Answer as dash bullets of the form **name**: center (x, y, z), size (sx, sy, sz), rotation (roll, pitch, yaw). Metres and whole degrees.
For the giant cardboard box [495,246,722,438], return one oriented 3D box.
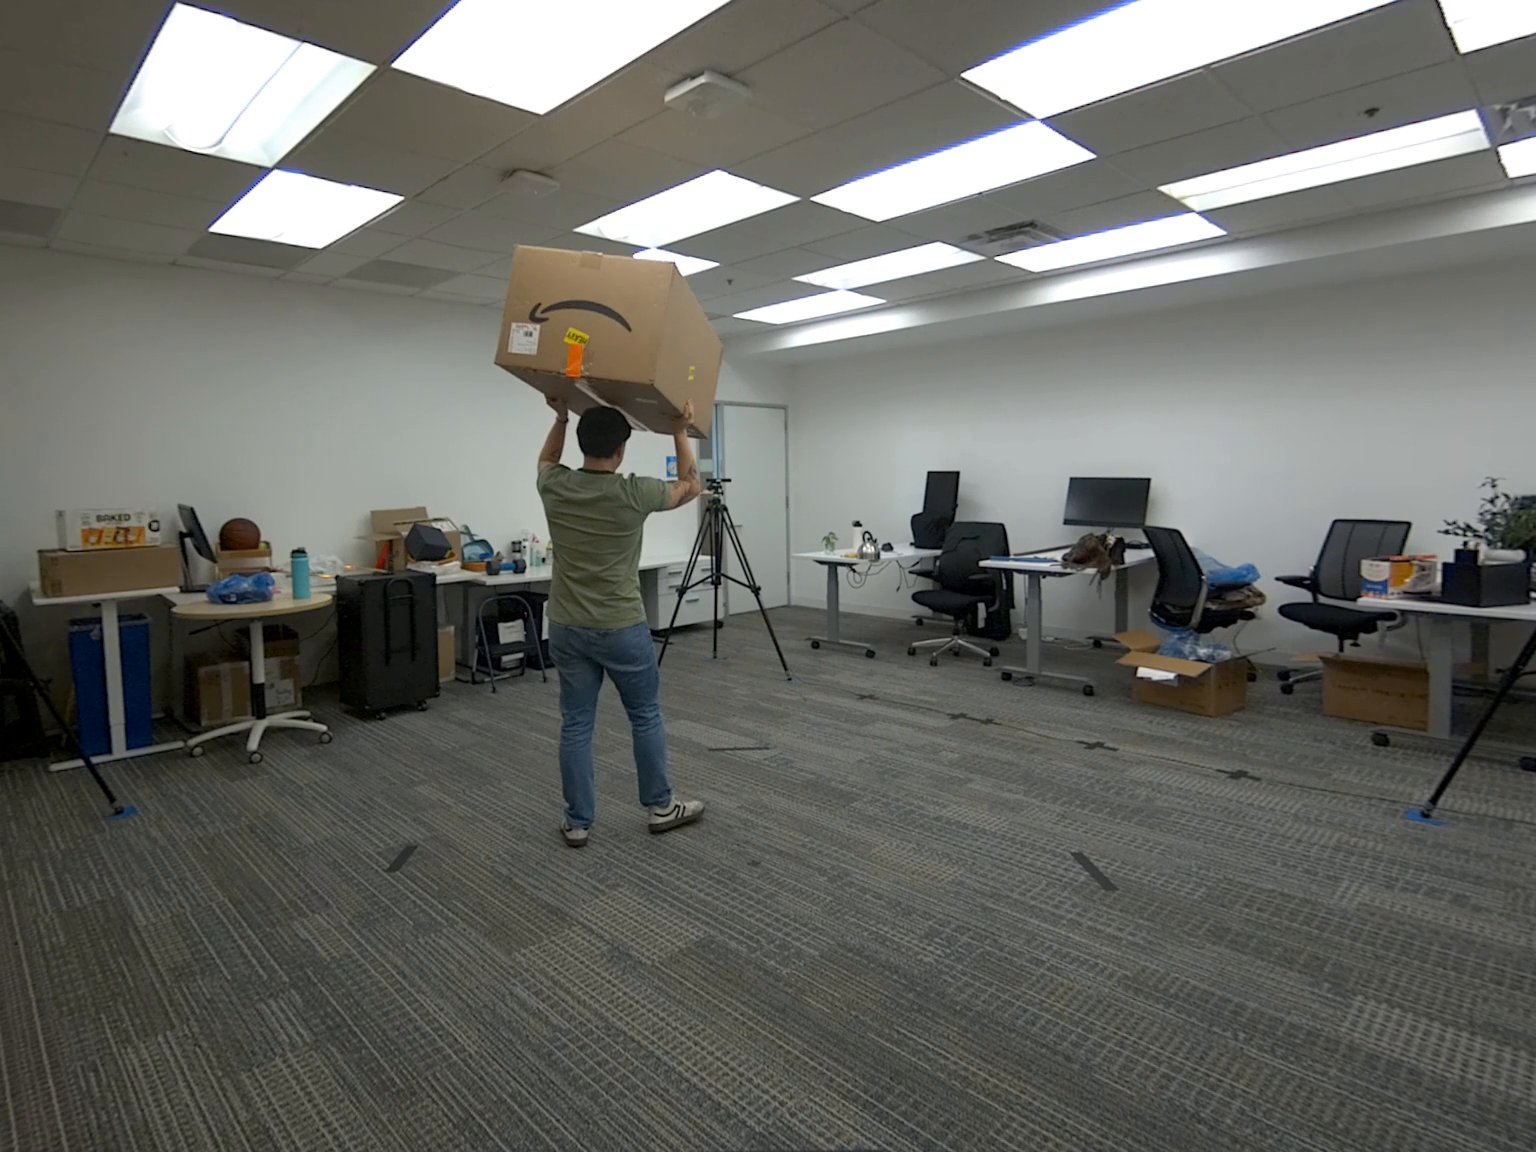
- **giant cardboard box**: center (-0.563, -0.868, 3.367), size (0.583, 0.427, 1.015), rotation (9, 0, 7)
